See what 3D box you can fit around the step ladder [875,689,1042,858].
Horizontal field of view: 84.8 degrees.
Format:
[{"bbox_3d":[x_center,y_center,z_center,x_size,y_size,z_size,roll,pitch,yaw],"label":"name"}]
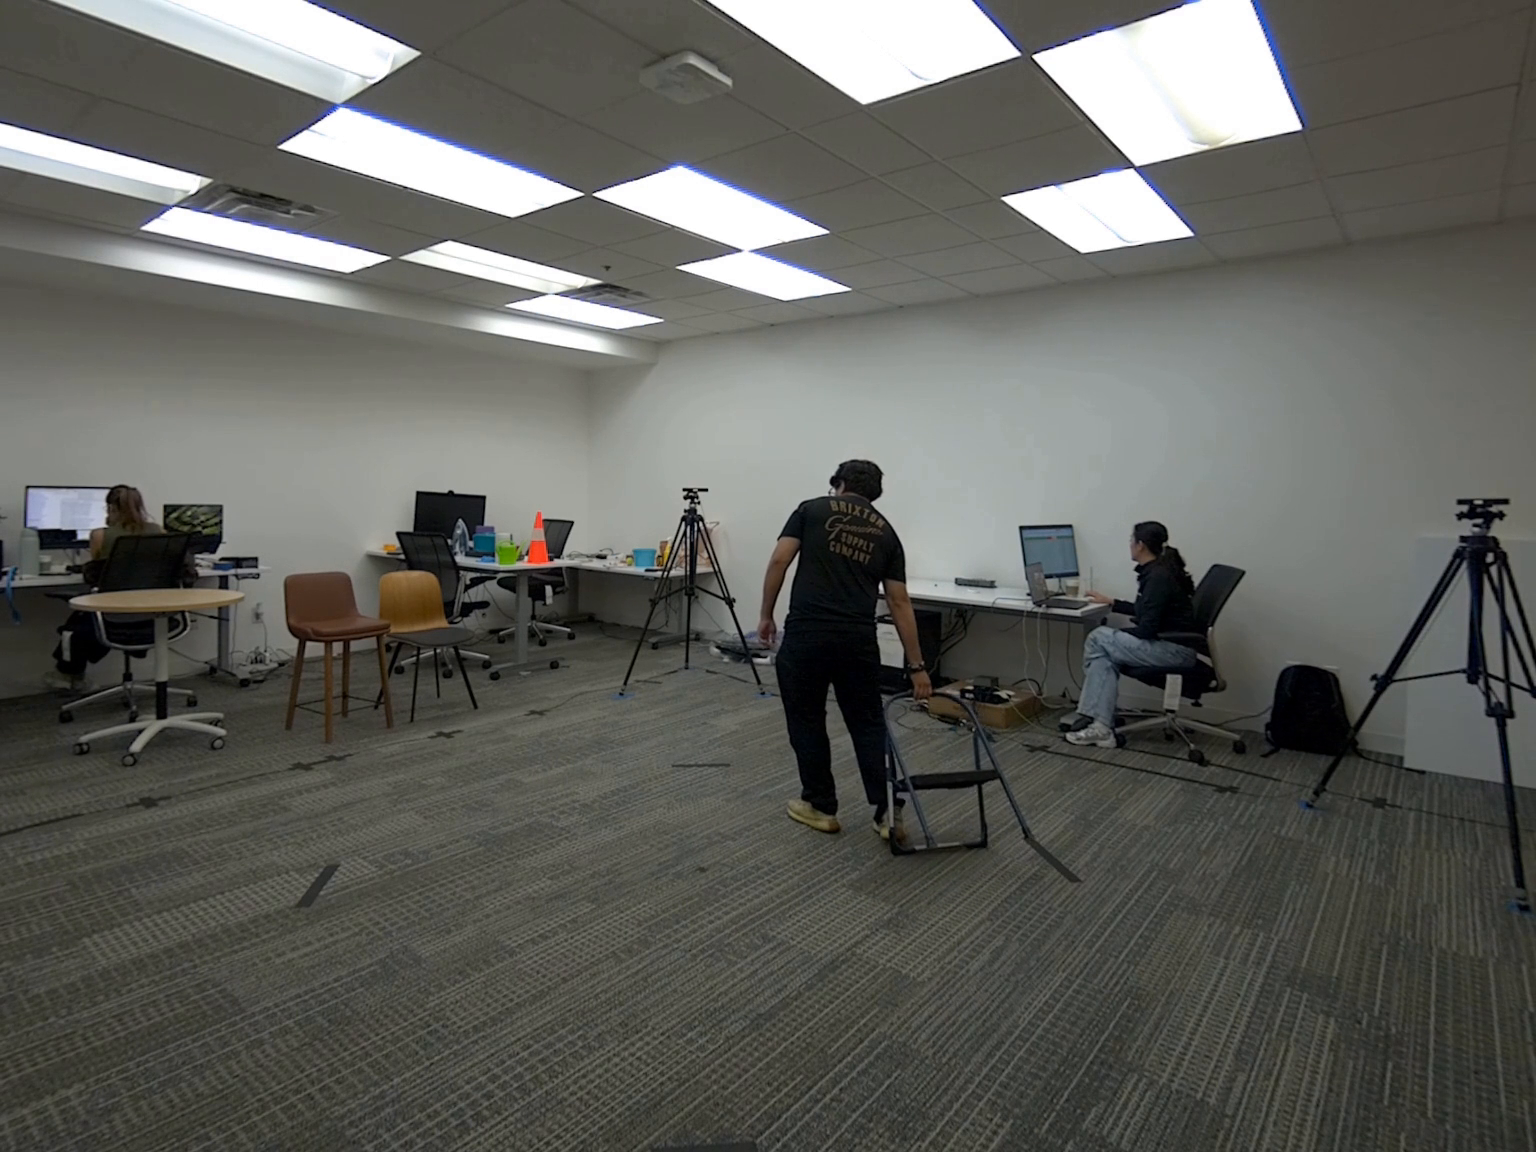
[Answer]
[{"bbox_3d":[0.683,0.732,3.302,0.423,0.620,0.347,1,-24,-17],"label":"step ladder"}]
